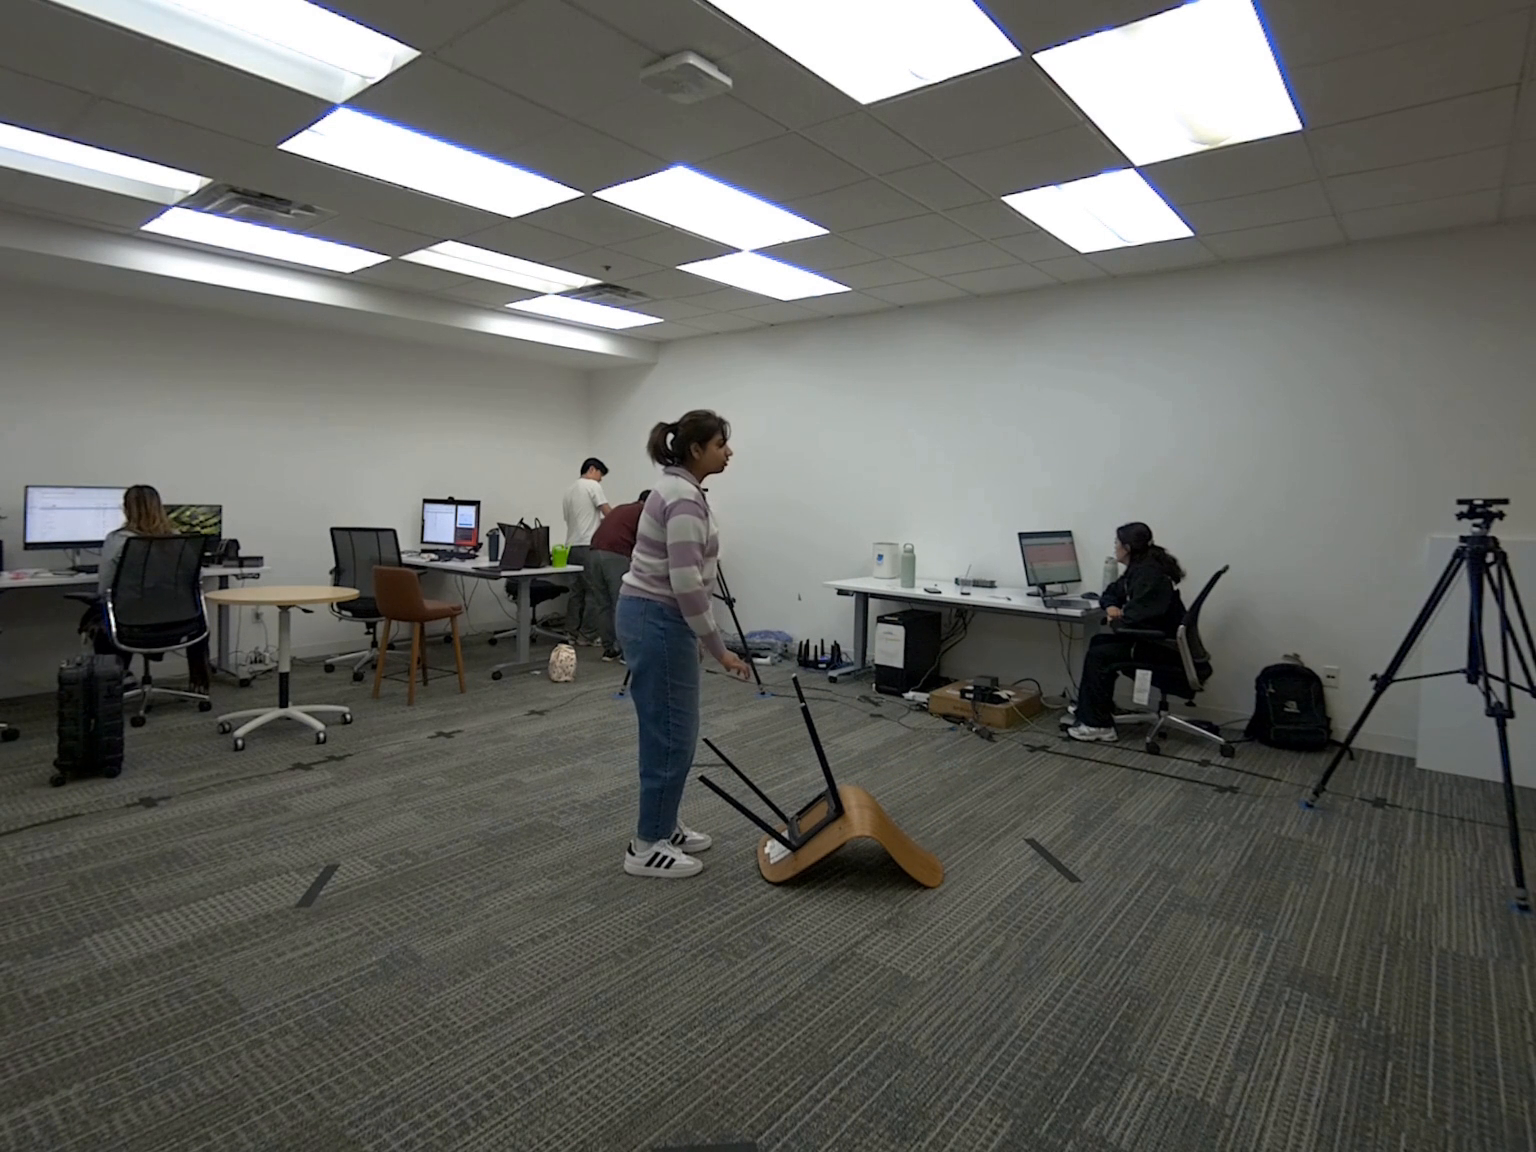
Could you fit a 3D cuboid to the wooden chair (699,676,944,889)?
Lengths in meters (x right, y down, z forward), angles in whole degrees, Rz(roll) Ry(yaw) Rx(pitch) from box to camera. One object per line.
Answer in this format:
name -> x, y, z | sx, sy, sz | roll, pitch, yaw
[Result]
wooden chair -> 0.161, 0.902, 3.180 | 0.523, 0.875, 0.479 | -39, 3, 3
